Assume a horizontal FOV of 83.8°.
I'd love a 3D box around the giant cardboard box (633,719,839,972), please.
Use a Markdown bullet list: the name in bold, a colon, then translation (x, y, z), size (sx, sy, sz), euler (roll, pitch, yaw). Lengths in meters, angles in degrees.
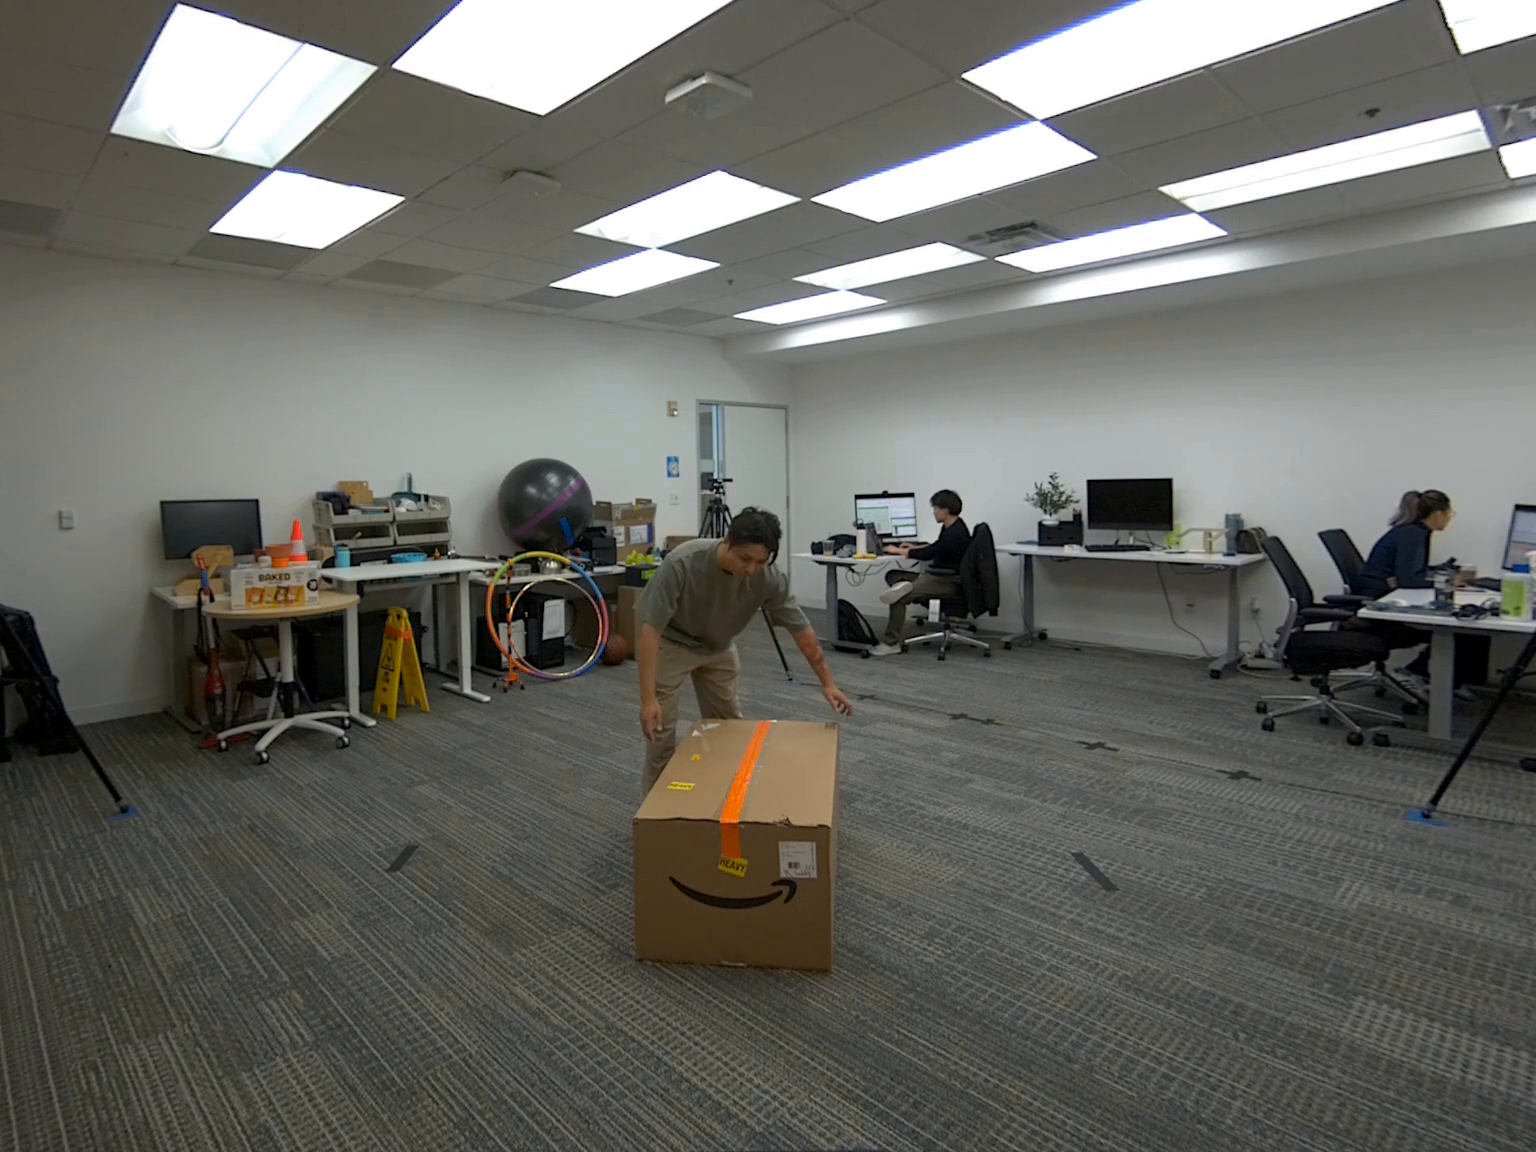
- **giant cardboard box**: translation (-0.053, 0.848, 2.931), size (0.582, 0.424, 1.023), euler (0, 6, 6)
